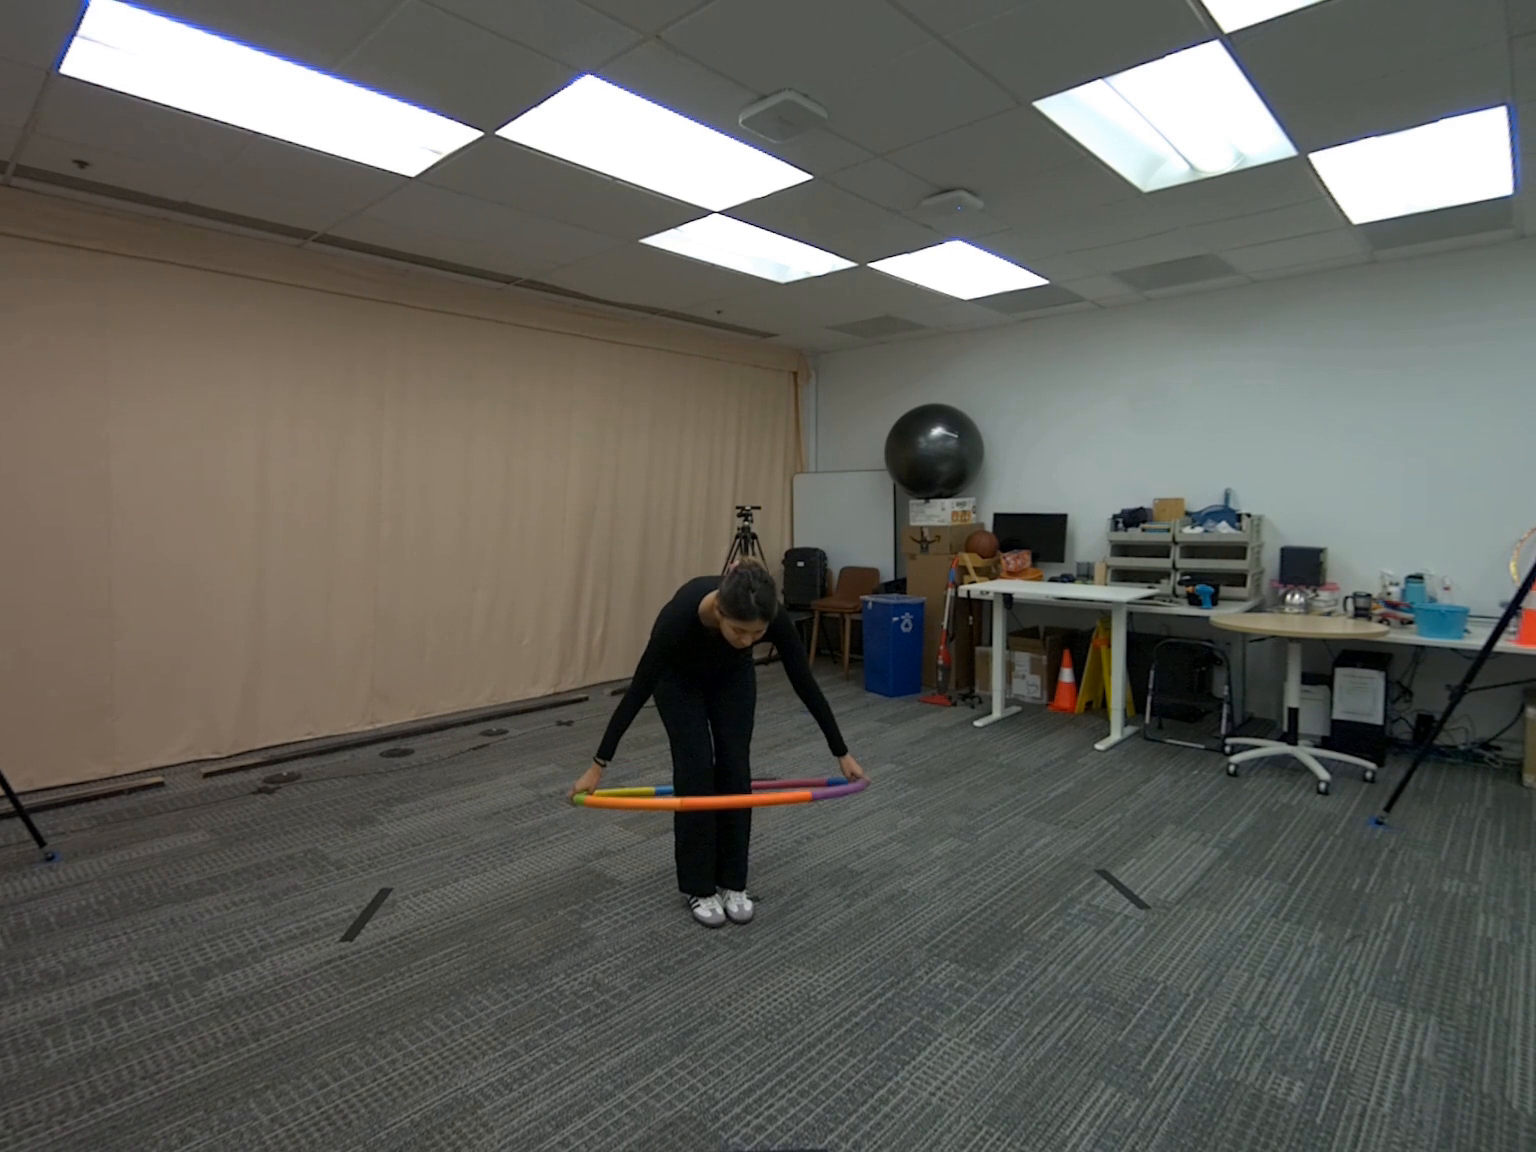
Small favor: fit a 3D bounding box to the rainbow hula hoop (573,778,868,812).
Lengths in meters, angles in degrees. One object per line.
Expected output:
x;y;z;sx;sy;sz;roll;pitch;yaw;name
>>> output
-0.161;0.726;2.827;0.977;0.036;0.972;-2;-11;-2;rainbow hula hoop
